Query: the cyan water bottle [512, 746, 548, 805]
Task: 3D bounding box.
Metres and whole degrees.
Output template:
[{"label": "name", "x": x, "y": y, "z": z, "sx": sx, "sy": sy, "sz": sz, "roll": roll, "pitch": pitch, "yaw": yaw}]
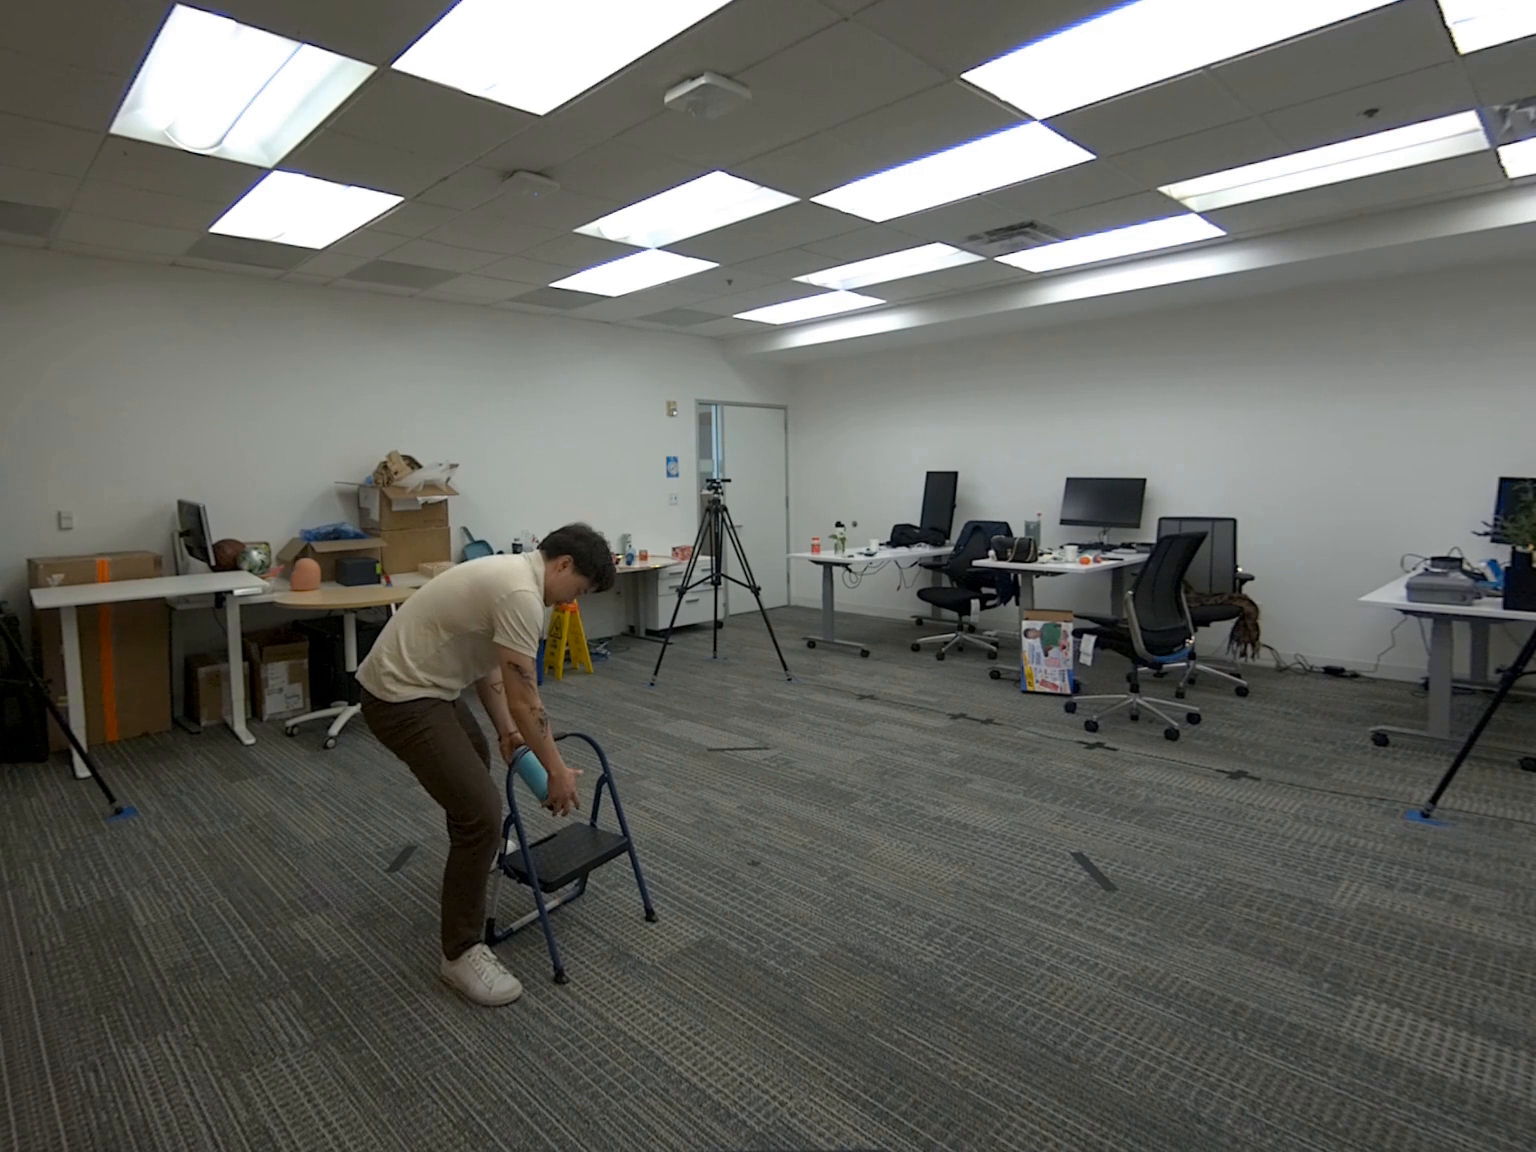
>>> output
[{"label": "cyan water bottle", "x": -0.712, "y": 0.631, "z": 2.739, "sx": 0.090, "sy": 0.091, "sz": 0.294, "roll": -5, "pitch": 26, "yaw": -41}]
